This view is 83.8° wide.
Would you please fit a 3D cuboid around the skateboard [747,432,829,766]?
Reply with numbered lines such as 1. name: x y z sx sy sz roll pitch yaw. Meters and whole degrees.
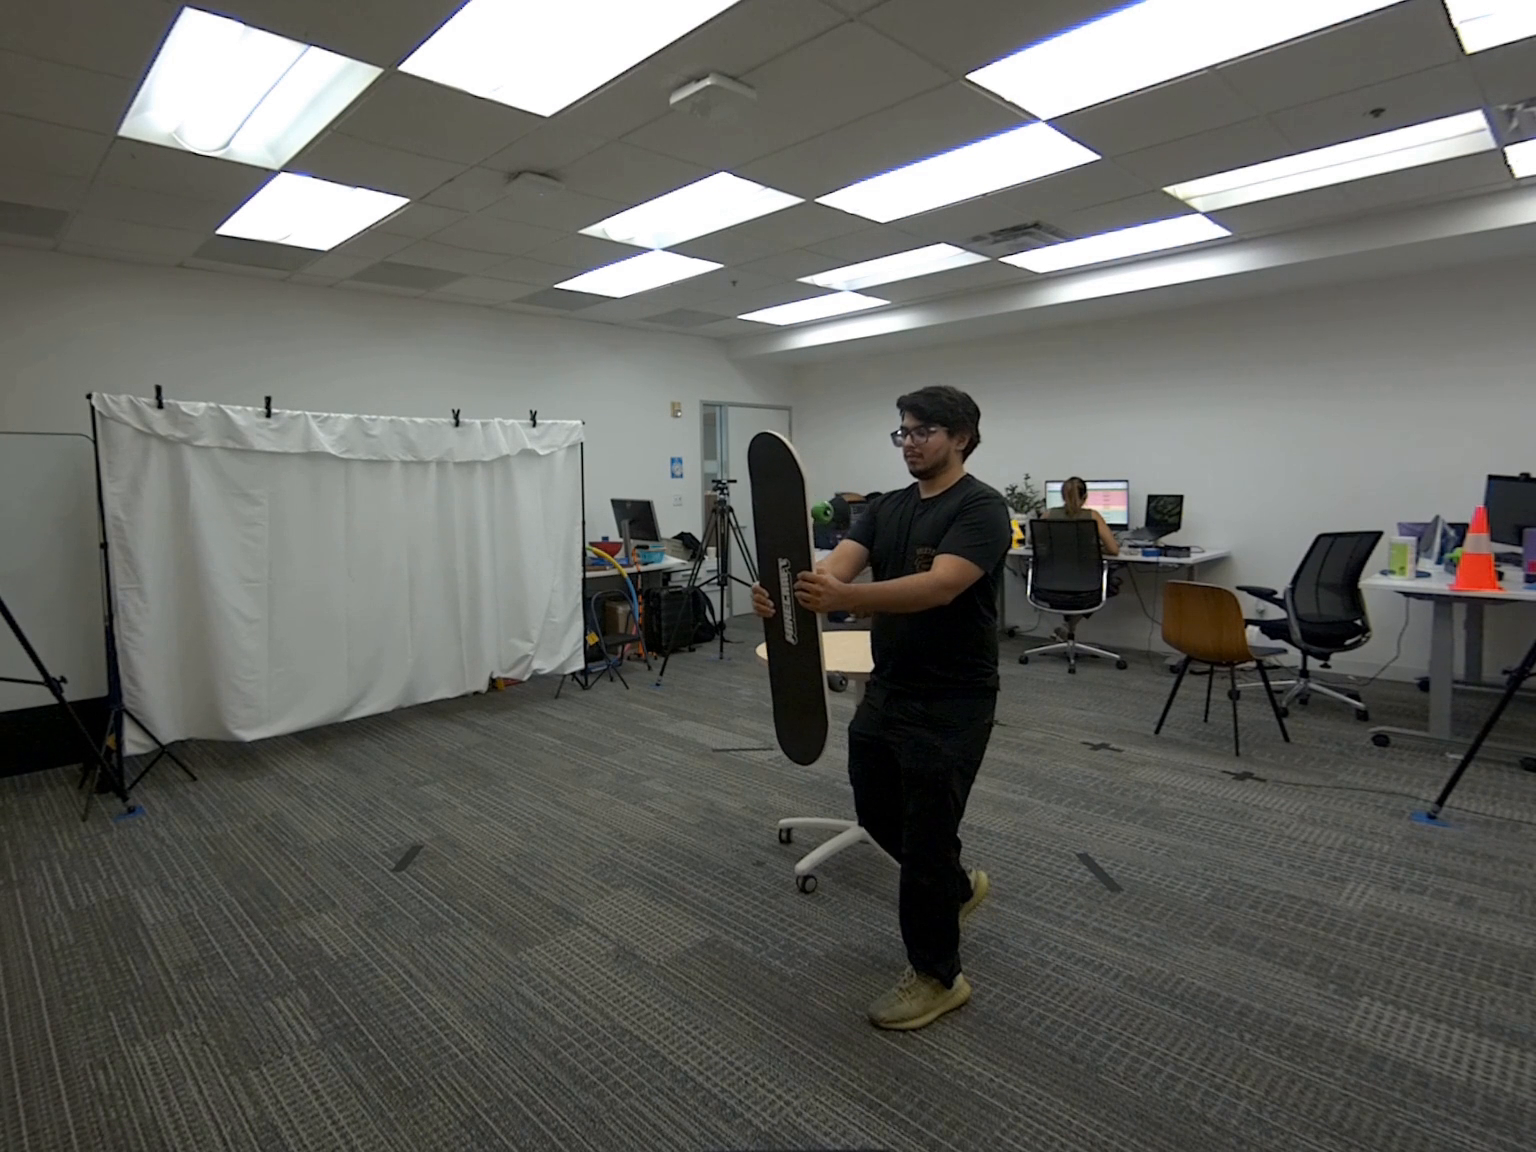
1. skateboard: 0.077 0.055 2.001 0.108 0.779 0.199 -13 11 -38
